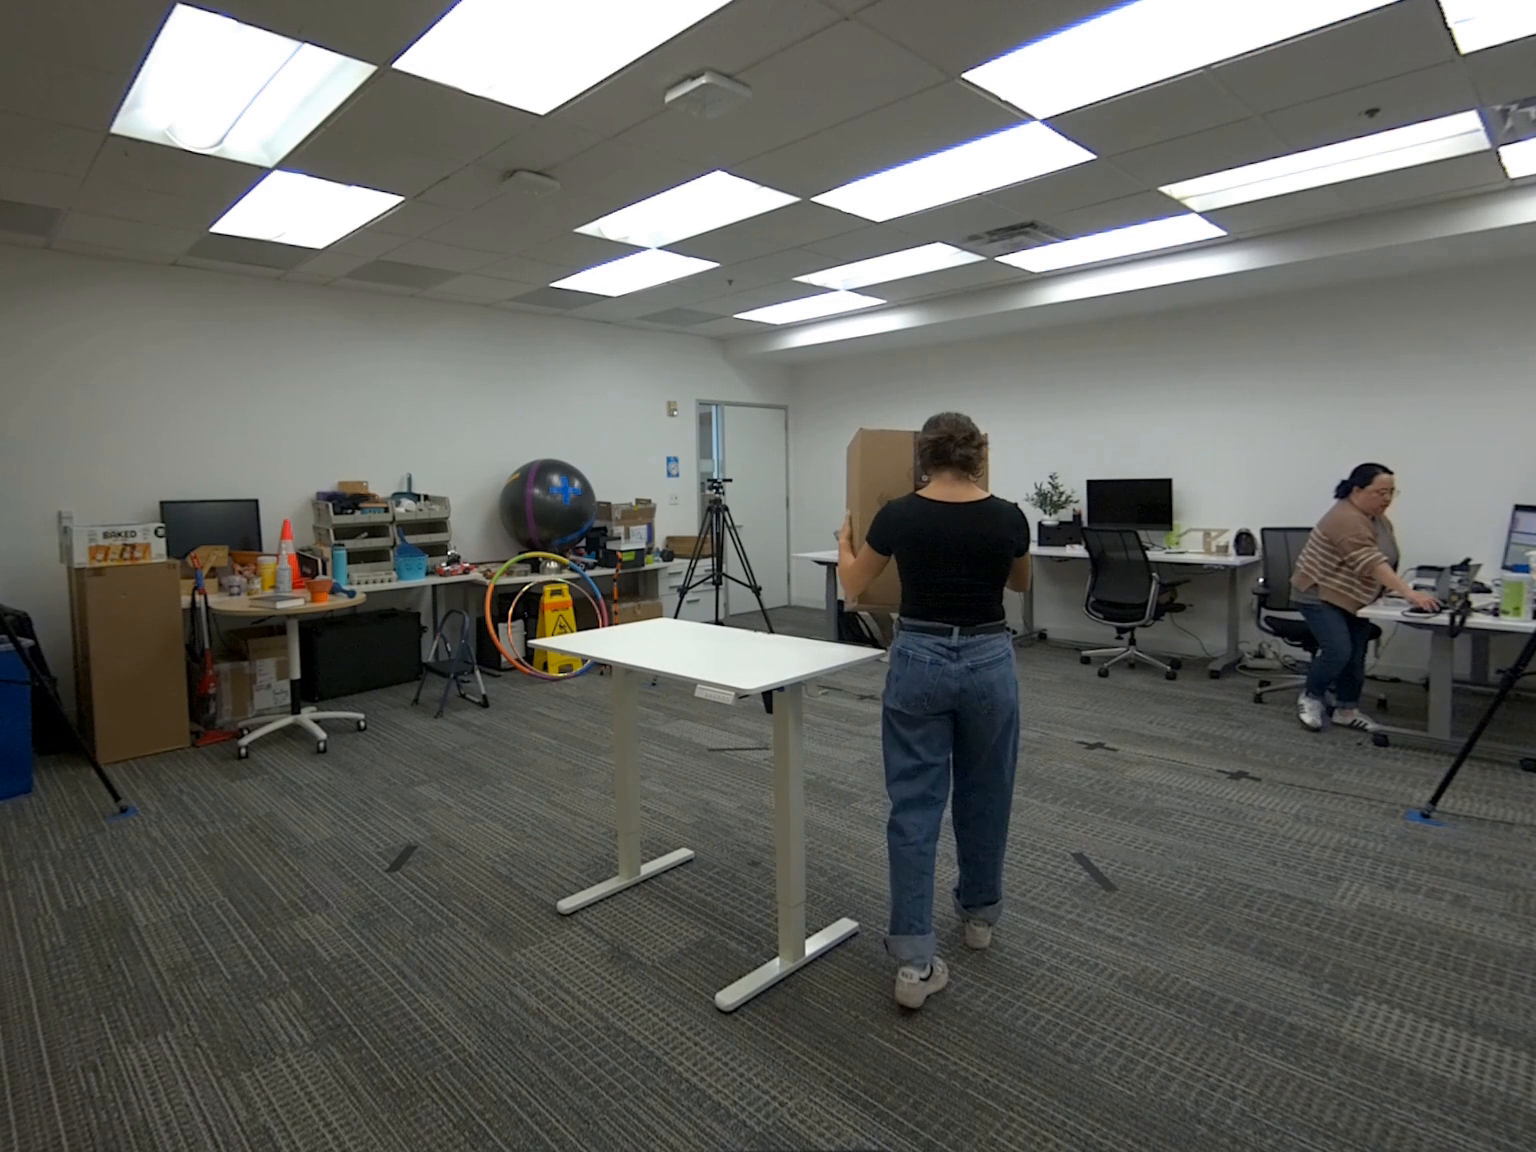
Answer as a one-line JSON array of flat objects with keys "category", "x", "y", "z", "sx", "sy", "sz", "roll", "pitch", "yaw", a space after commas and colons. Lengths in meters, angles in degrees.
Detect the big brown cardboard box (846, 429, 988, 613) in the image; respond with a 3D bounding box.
[{"category": "big brown cardboard box", "x": 0.487, "y": -0.176, "z": 2.762, "sx": 0.417, "sy": 0.595, "sz": 0.231, "roll": 3, "pitch": -11, "yaw": -2}]
